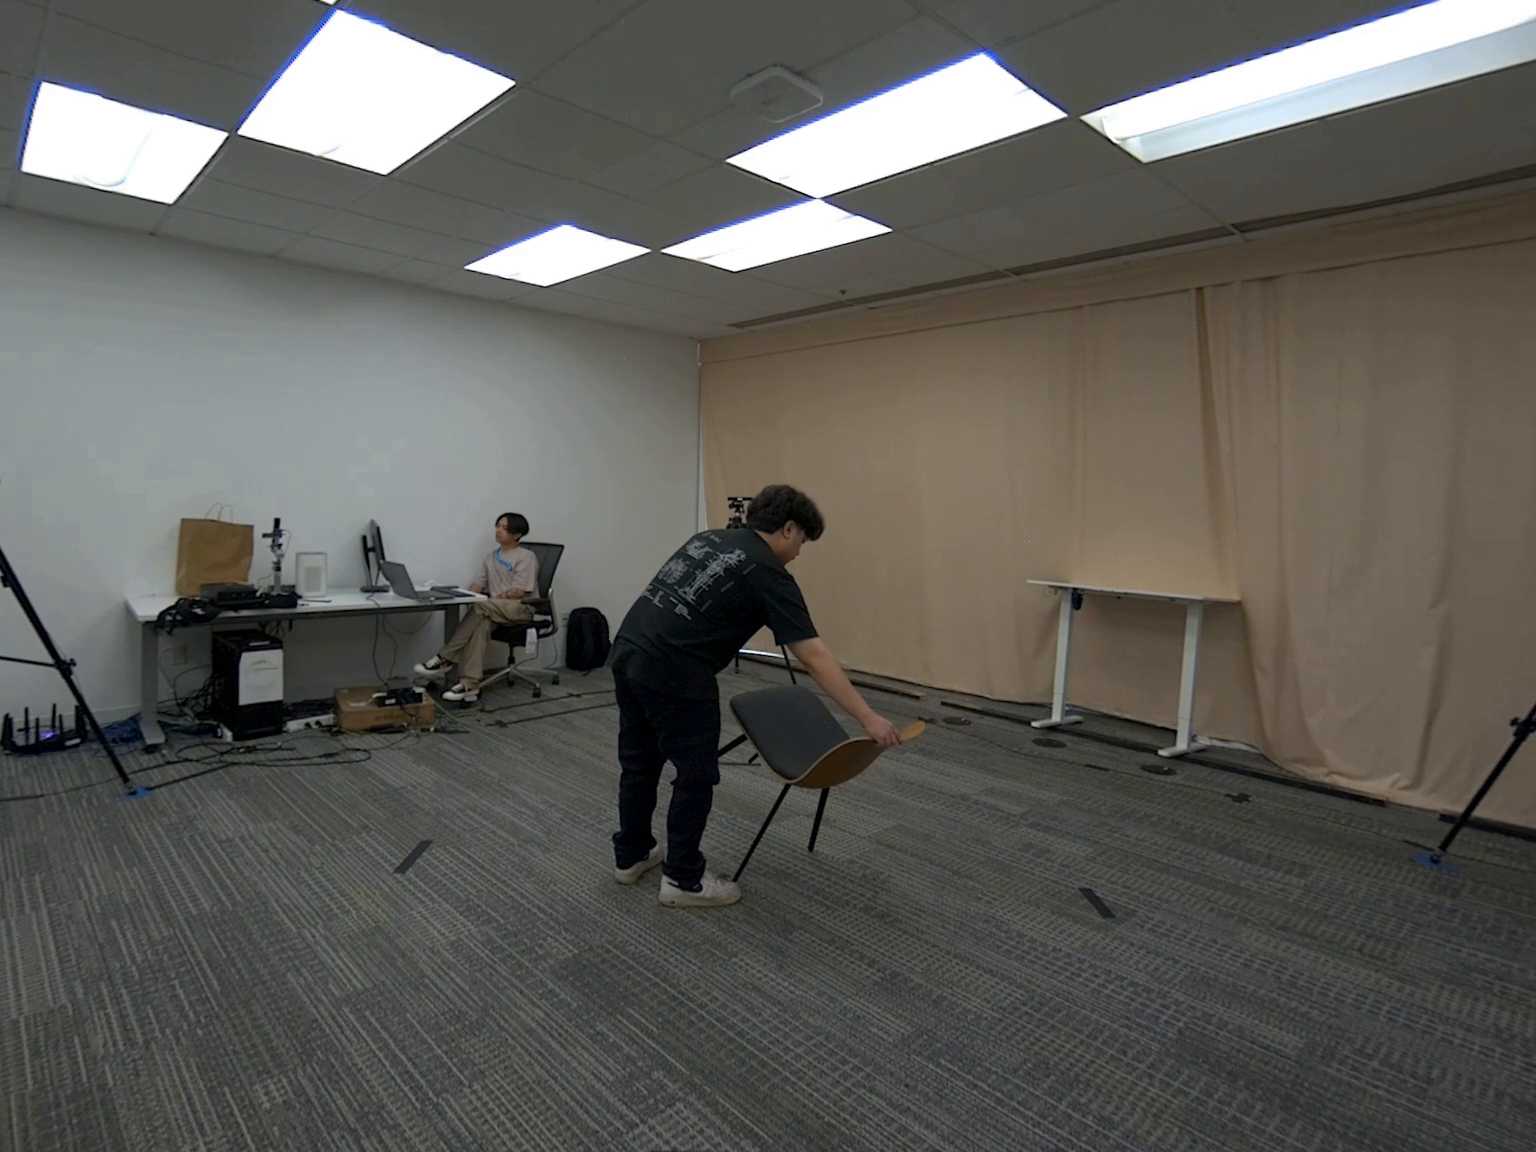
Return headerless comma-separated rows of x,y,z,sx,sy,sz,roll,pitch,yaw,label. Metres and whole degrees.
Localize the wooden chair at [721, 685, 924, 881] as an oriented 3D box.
0.094,0.636,3.106,0.467,0.874,0.537,-3,49,-46,wooden chair
